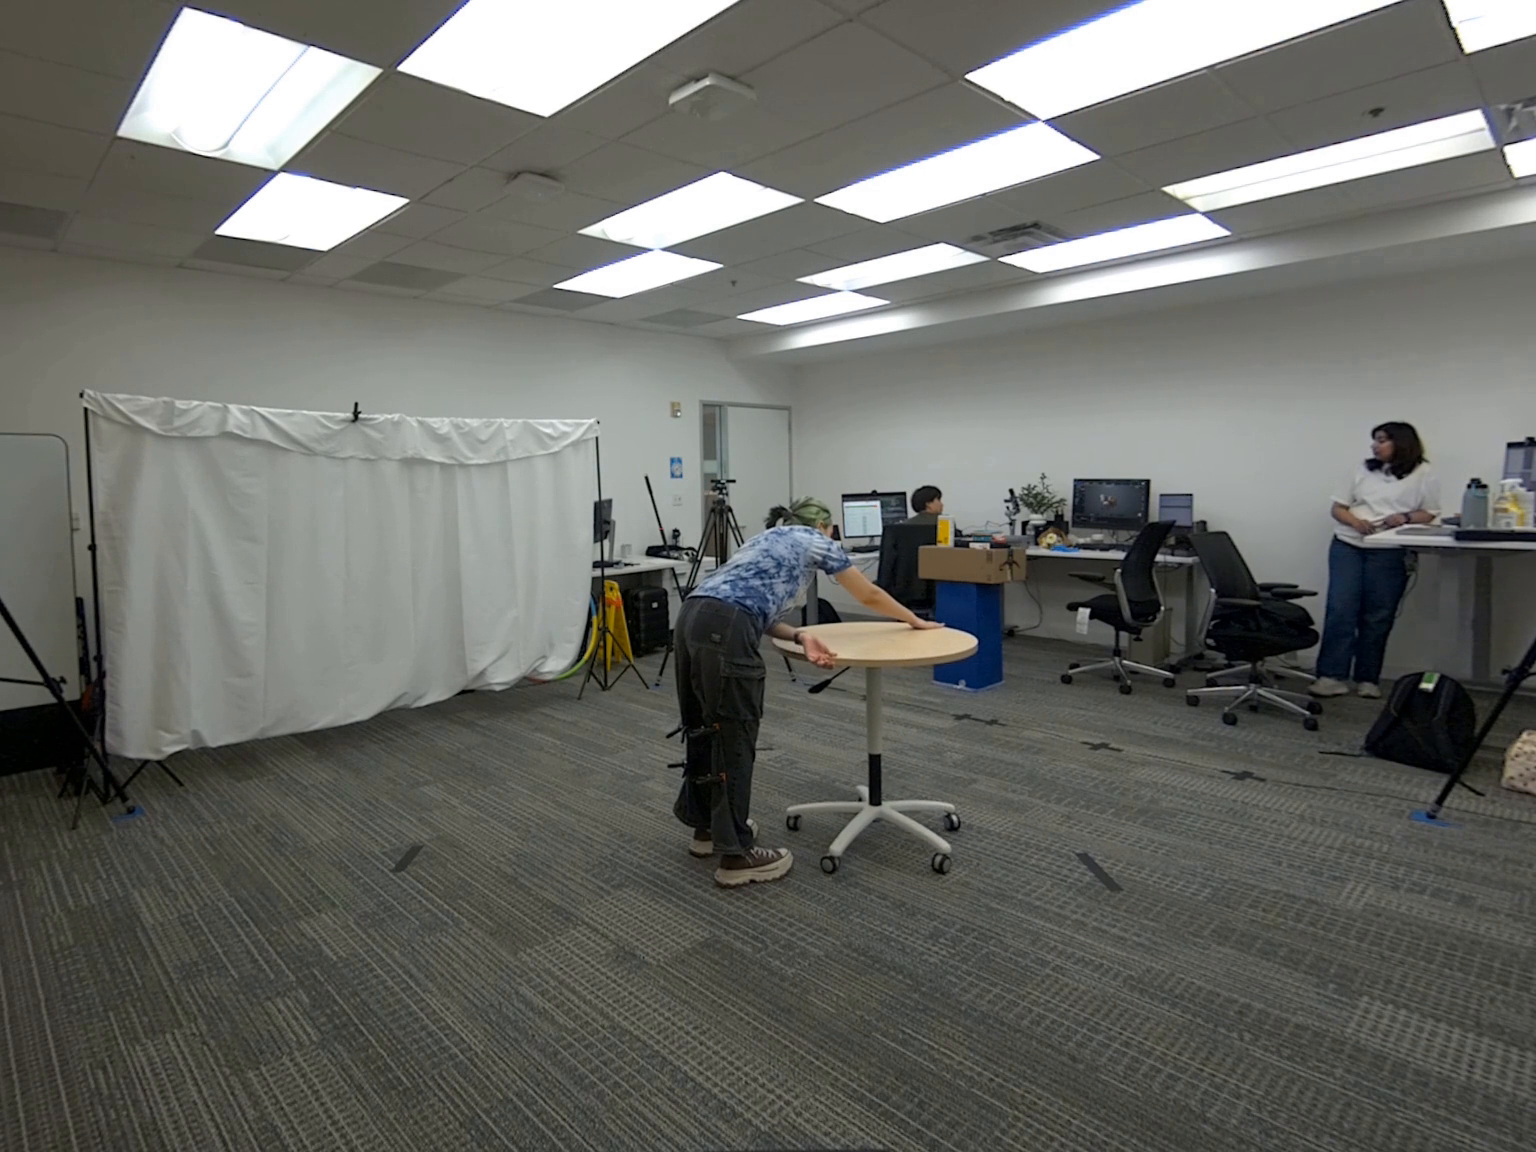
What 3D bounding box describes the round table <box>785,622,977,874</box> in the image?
[{"bbox_3d":[0.406,0.632,3.278,0.763,0.791,0.768,-1,5,-2],"label":"round table"}]
